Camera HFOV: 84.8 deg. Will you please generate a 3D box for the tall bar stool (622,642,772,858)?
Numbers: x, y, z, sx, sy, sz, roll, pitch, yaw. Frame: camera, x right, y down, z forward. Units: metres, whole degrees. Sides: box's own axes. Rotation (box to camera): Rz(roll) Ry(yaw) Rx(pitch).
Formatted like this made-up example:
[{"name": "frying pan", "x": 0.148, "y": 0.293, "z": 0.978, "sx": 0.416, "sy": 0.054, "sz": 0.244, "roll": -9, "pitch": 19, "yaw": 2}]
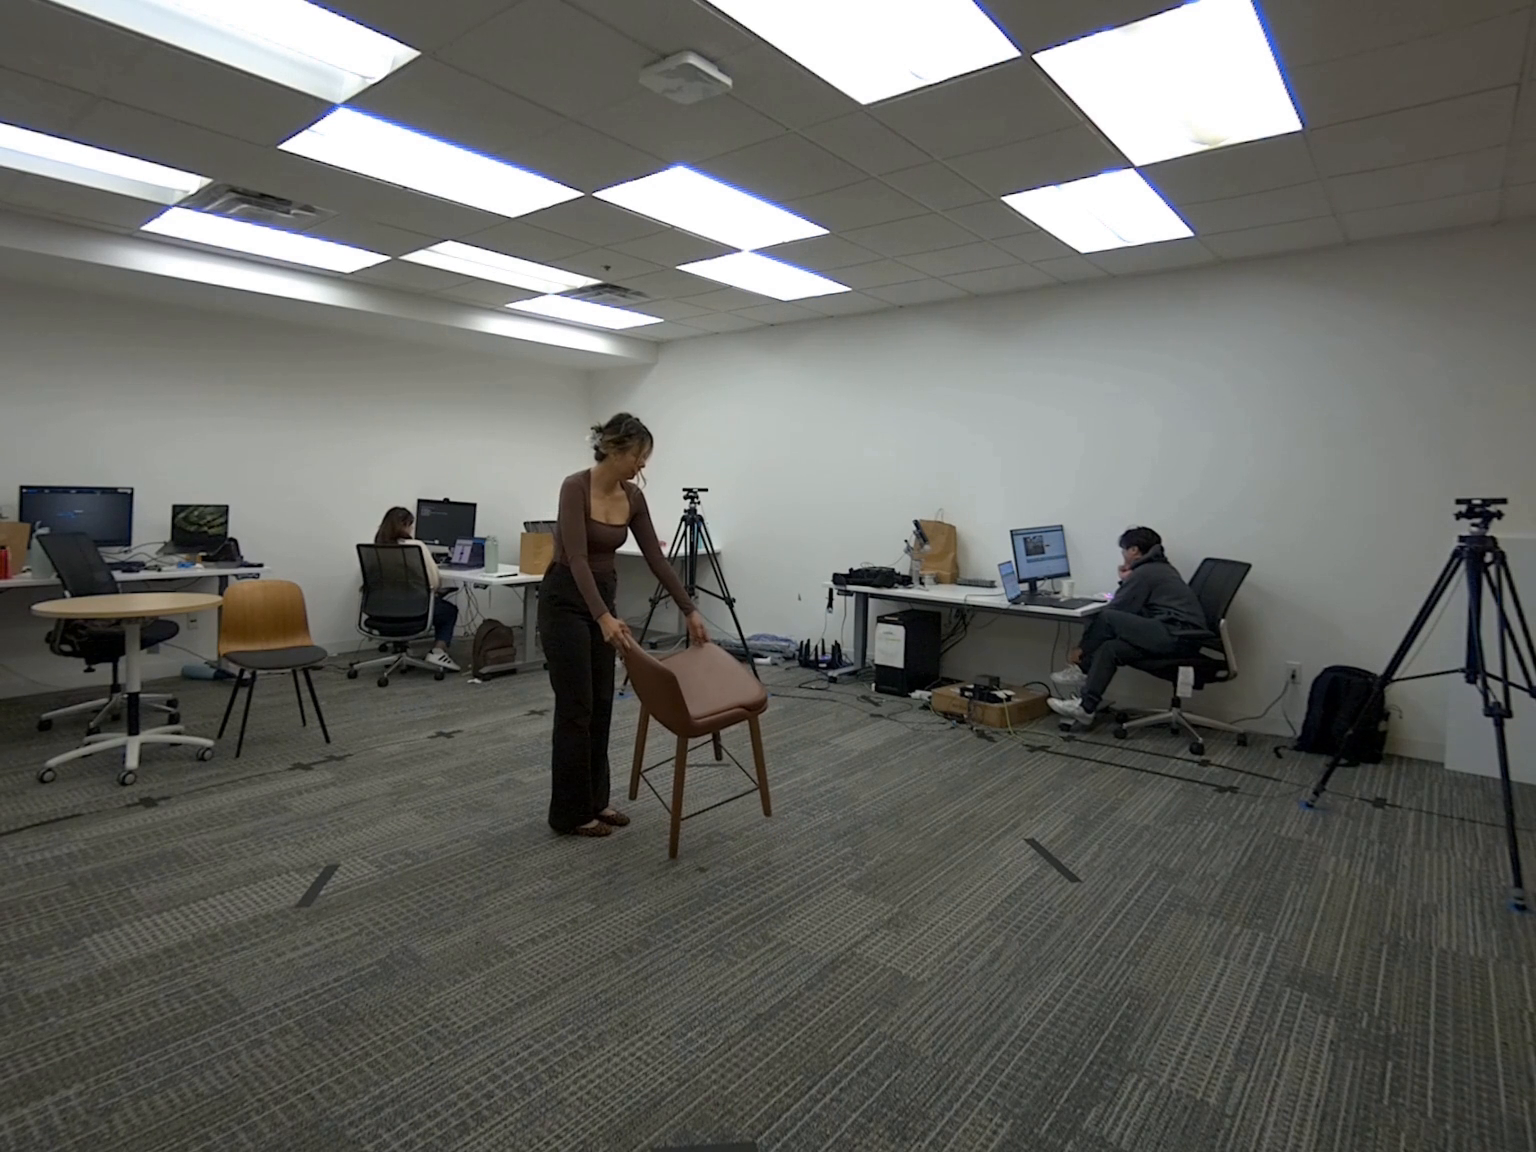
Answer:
[{"name": "tall bar stool", "x": -0.290, "y": 0.549, "z": 3.246, "sx": 0.459, "sy": 0.868, "sz": 0.476, "roll": -17, "pitch": 31, "yaw": -28}]
